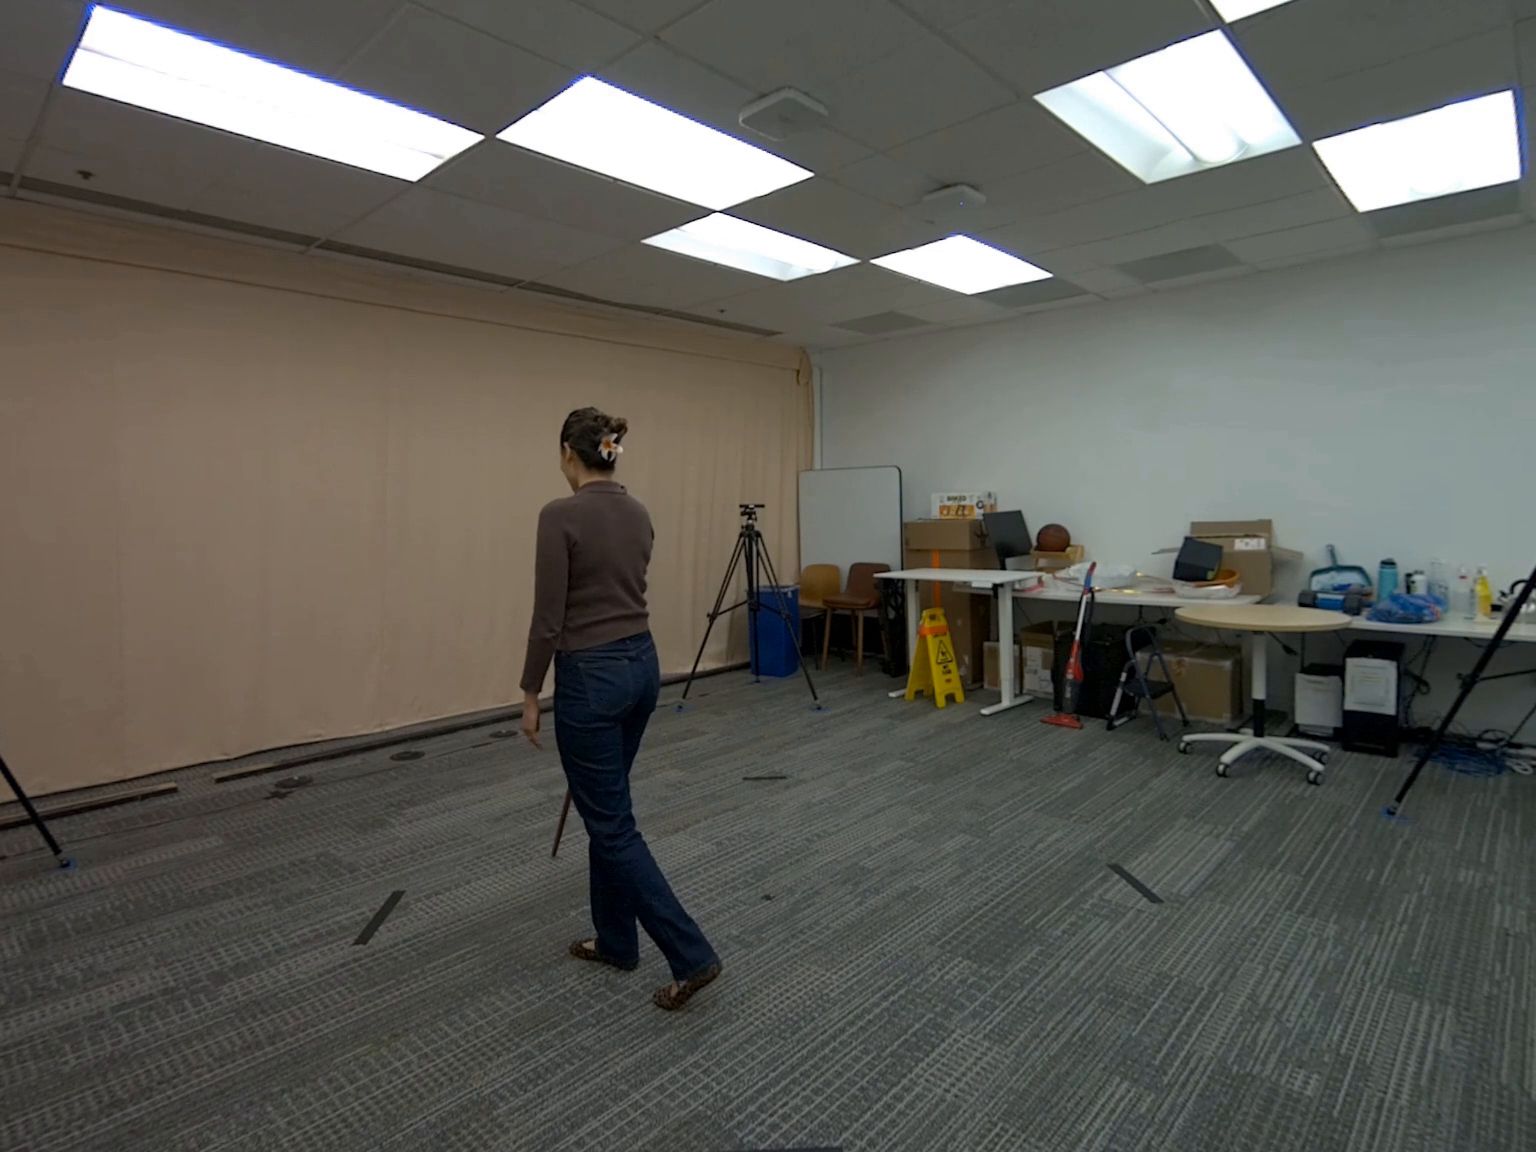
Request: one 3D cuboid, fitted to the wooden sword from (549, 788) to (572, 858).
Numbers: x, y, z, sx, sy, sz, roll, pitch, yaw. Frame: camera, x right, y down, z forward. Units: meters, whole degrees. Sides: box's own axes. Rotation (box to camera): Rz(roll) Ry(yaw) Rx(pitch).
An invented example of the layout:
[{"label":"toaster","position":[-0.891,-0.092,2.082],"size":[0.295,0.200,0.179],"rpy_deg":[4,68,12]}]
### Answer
[{"label":"wooden sword","position":[-0.727,0.769,3.075],"size":[0.024,1.020,0.051],"rpy_deg":[32,38,10]}]
